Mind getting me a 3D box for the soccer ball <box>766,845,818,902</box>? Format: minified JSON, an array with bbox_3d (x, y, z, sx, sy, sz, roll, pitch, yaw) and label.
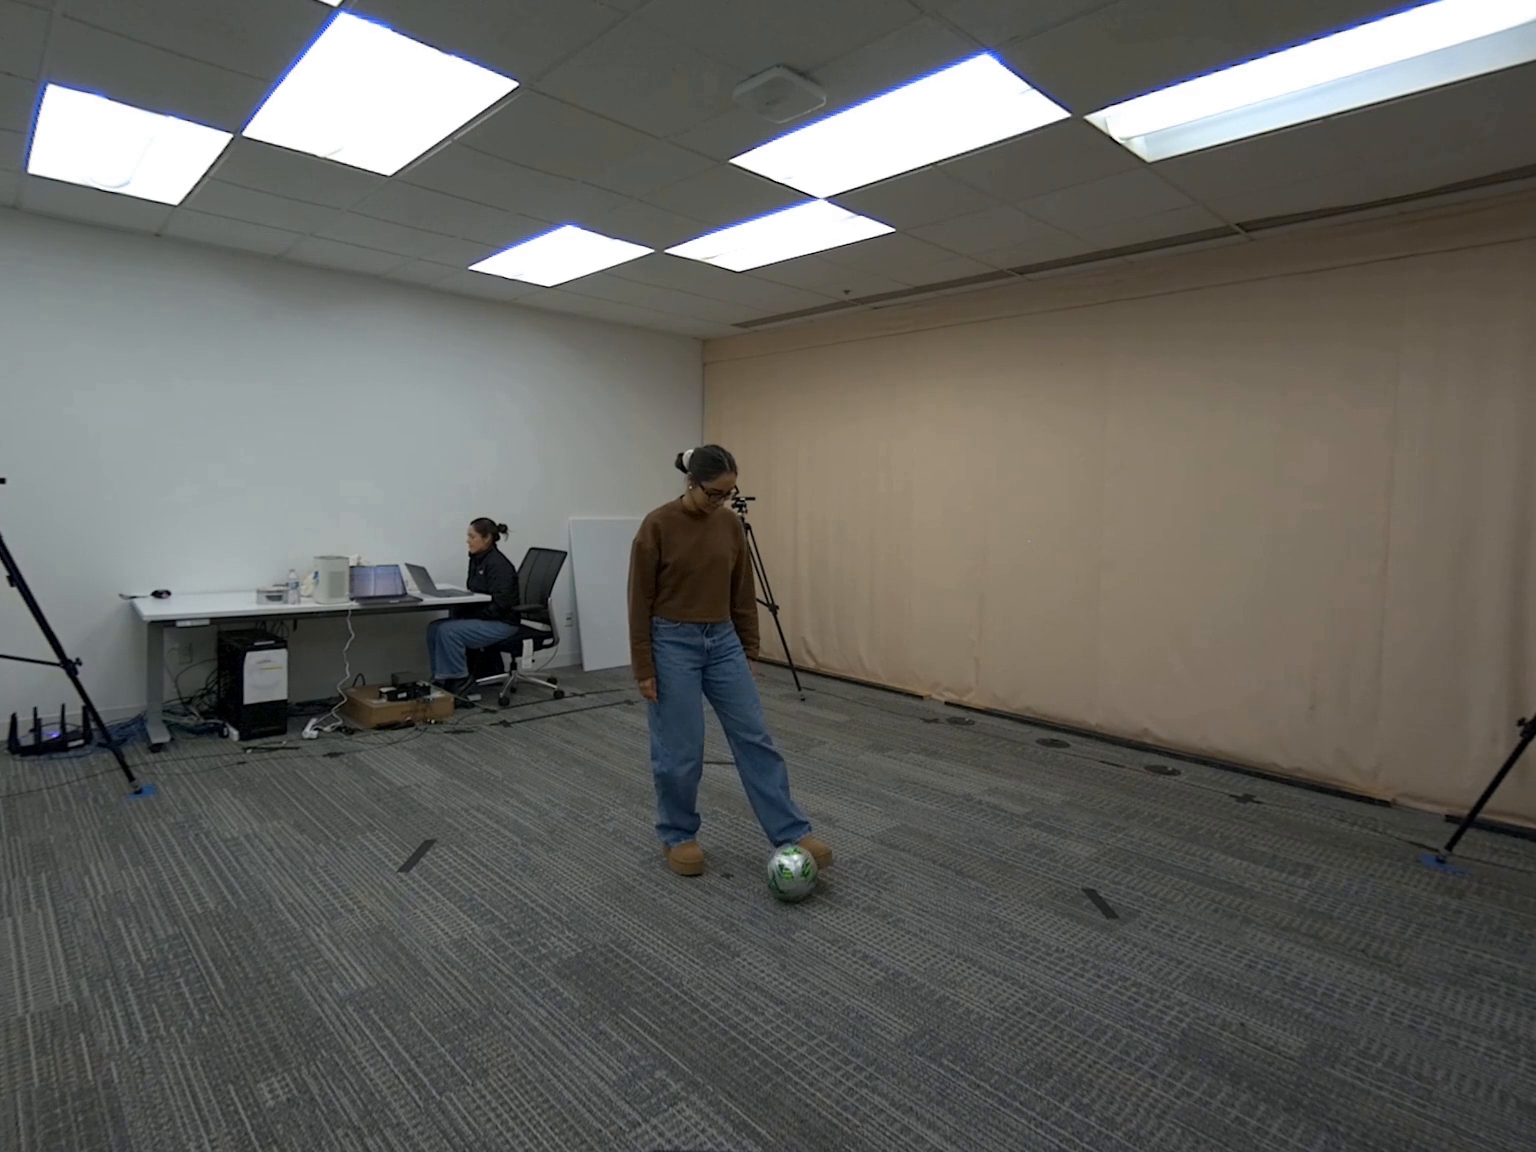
[{"bbox_3d":[0.069,1.036,2.931,0.187,0.187,0.188,1,4,-1],"label":"soccer ball"}]
